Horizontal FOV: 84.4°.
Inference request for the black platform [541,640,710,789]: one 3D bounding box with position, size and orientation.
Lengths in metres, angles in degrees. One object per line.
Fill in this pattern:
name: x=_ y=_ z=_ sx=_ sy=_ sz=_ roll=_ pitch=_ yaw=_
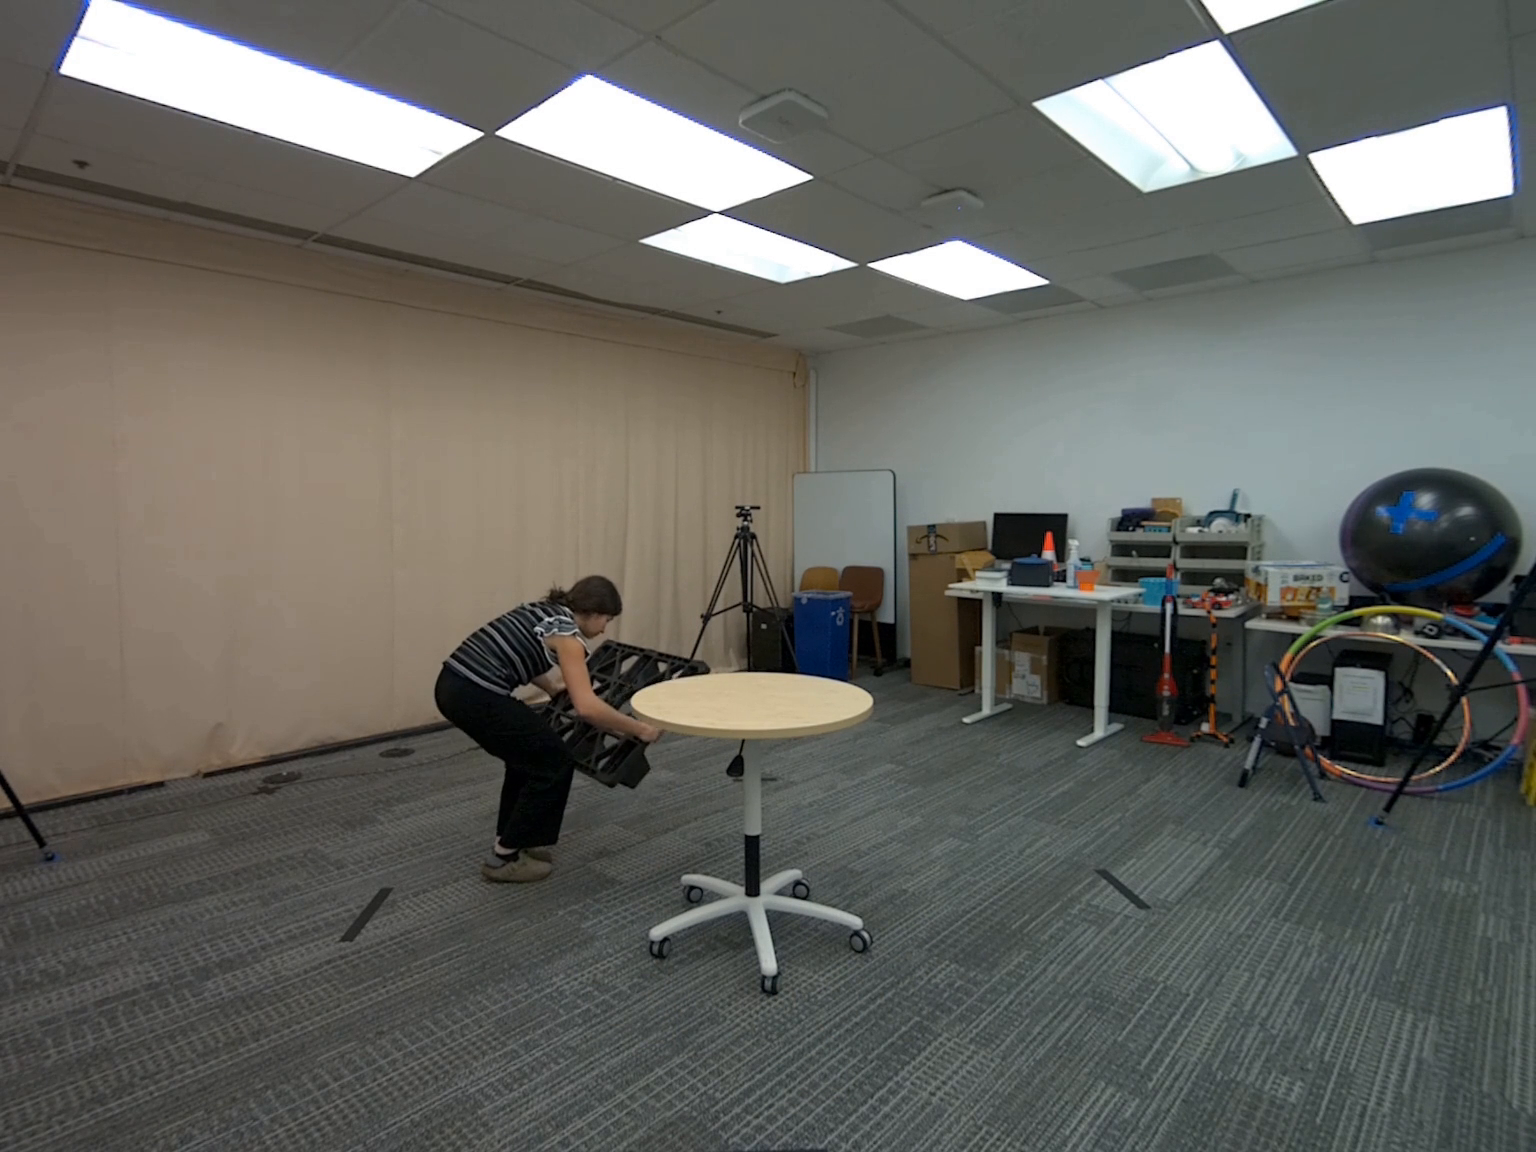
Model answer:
black platform: x=-0.632 y=0.557 z=3.502 sx=0.832 sy=0.139 sz=0.601 roll=5 pitch=47 yaw=51
